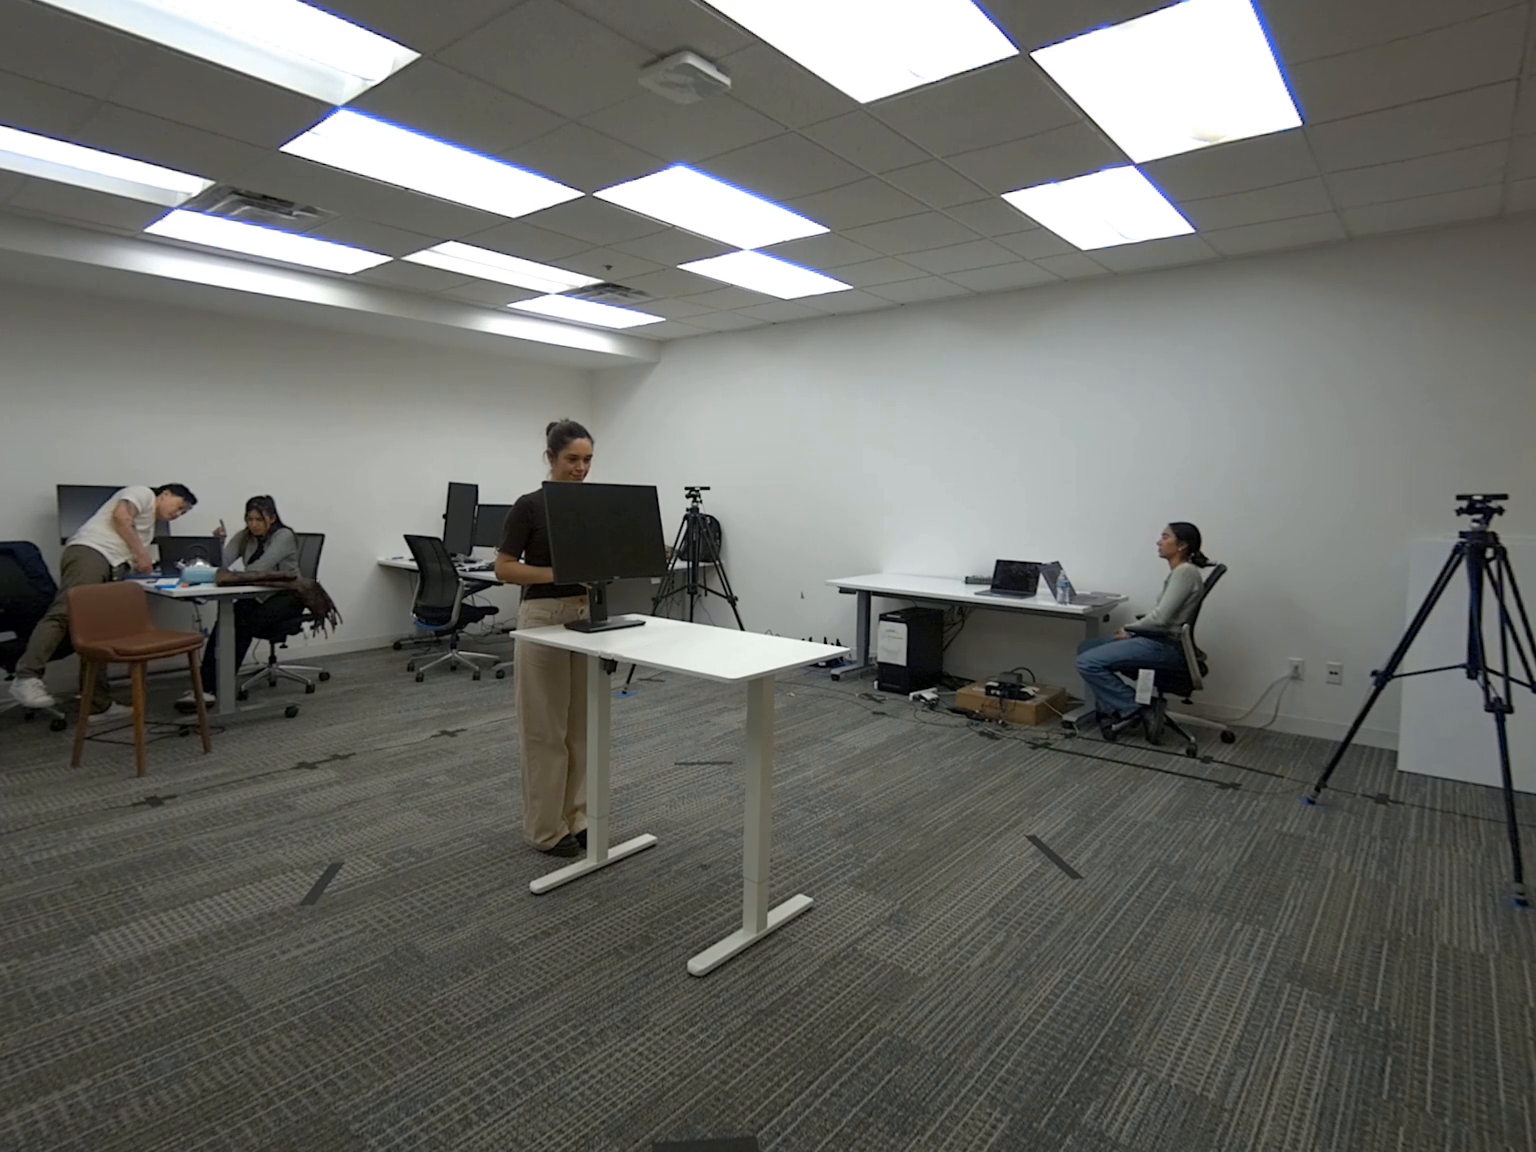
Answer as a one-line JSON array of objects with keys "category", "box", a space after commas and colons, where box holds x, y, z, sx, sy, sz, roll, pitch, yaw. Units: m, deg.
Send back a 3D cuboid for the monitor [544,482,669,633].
[{"category": "monitor", "box": [-0.603, -0.077, 3.050, 0.180, 0.514, 0.514, 7, 5, 36]}]
